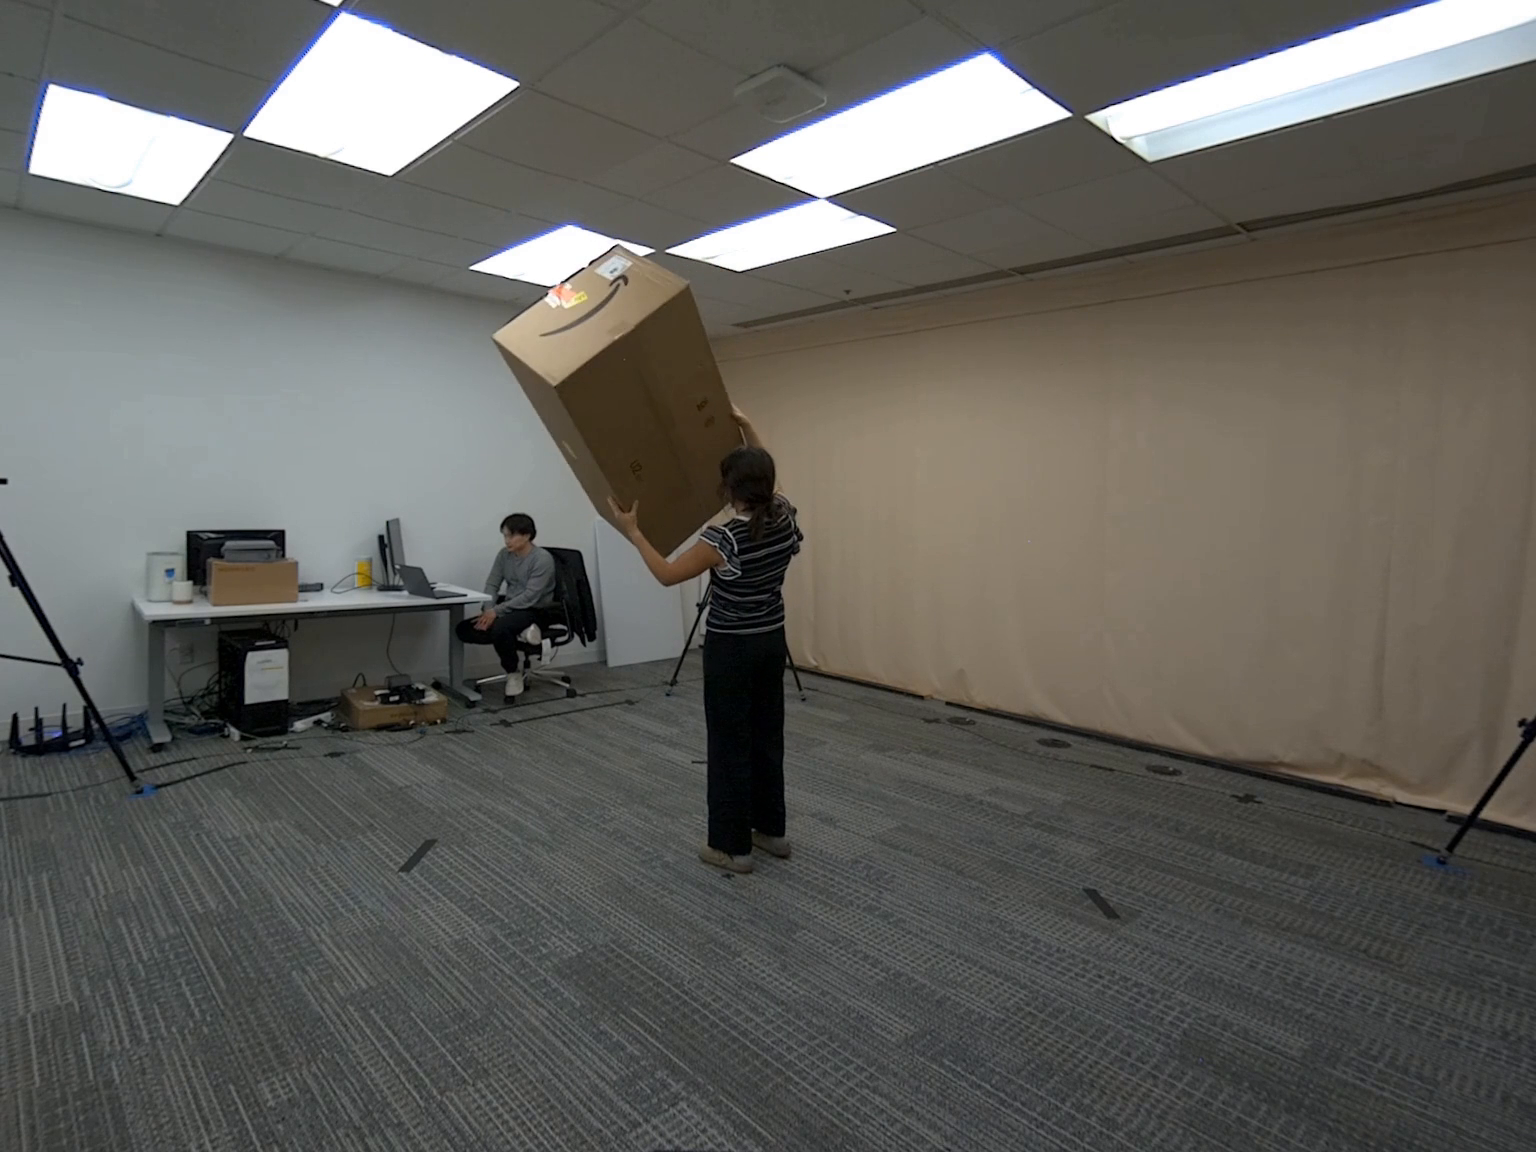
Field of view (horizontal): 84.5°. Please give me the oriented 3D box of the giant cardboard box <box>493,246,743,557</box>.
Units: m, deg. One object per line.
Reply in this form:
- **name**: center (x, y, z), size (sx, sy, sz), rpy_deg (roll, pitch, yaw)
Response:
- **giant cardboard box**: center (-0.496, -0.613, 3.193), size (0.439, 0.576, 0.997), rpy_deg (39, -16, 33)
